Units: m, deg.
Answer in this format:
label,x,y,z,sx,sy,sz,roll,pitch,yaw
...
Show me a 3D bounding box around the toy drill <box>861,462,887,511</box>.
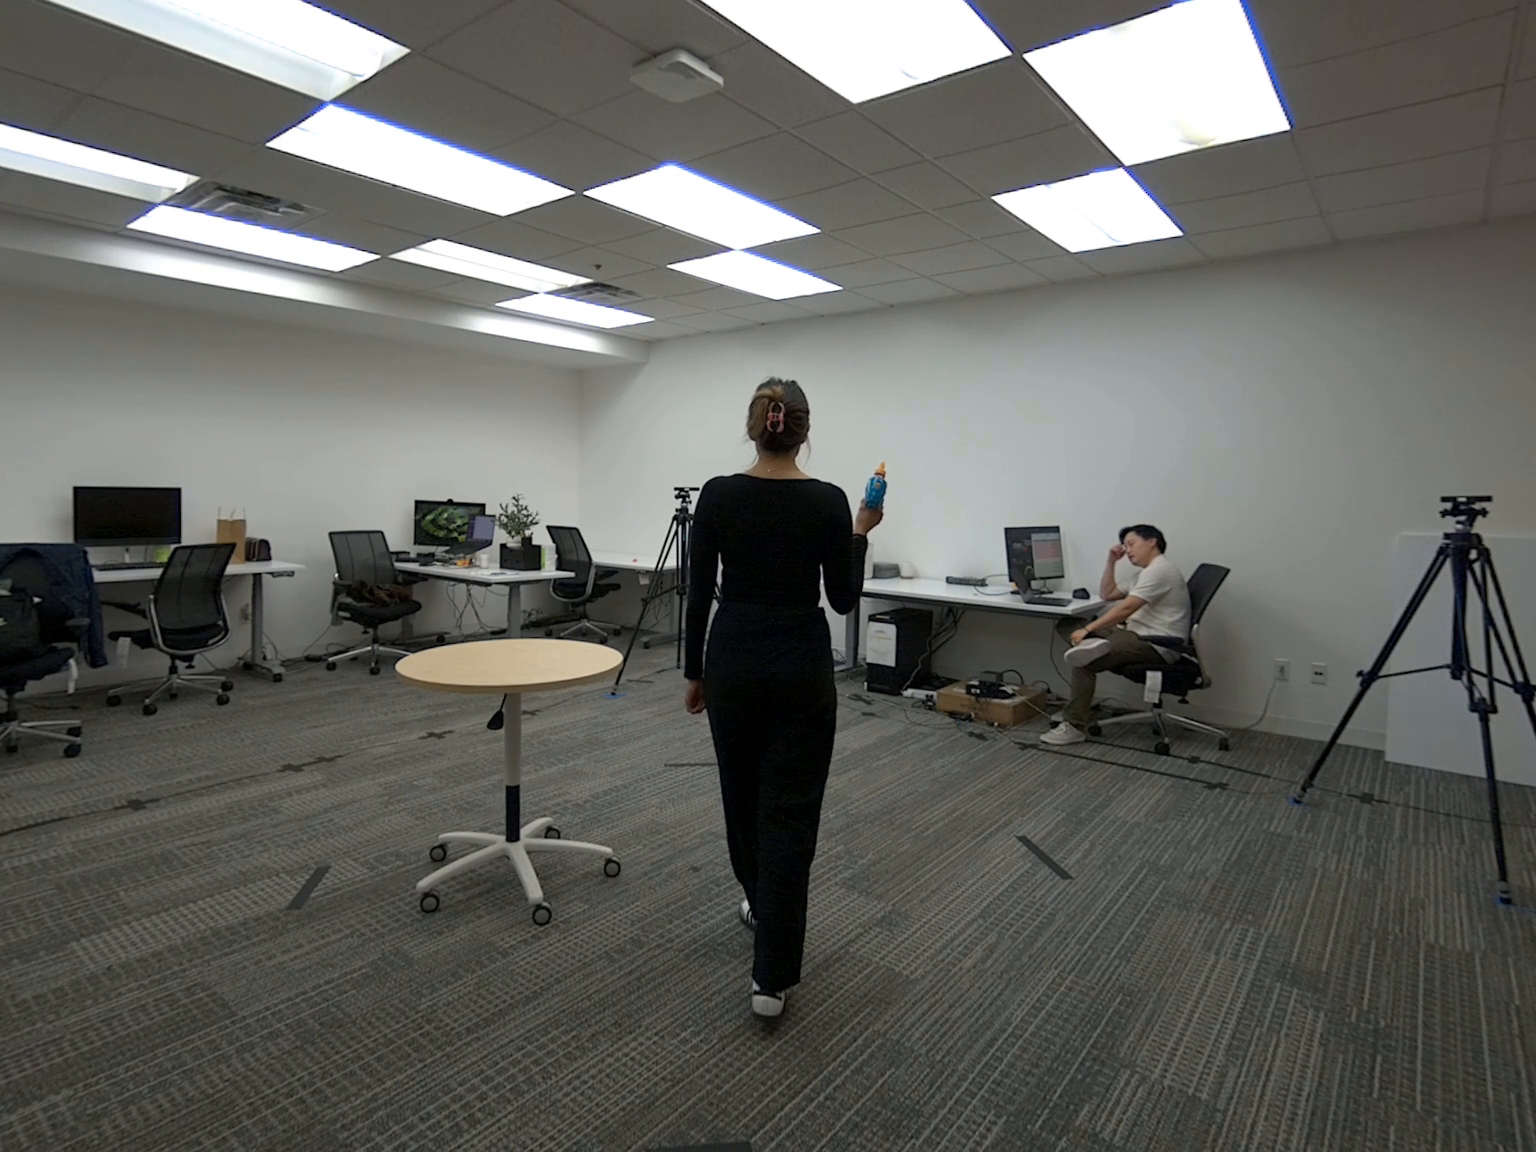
label,x,y,z,sx,sy,sz,roll,pitch,yaw
toy drill,0.318,-0.262,2.586,0.061,0.173,0.143,12,-27,0
